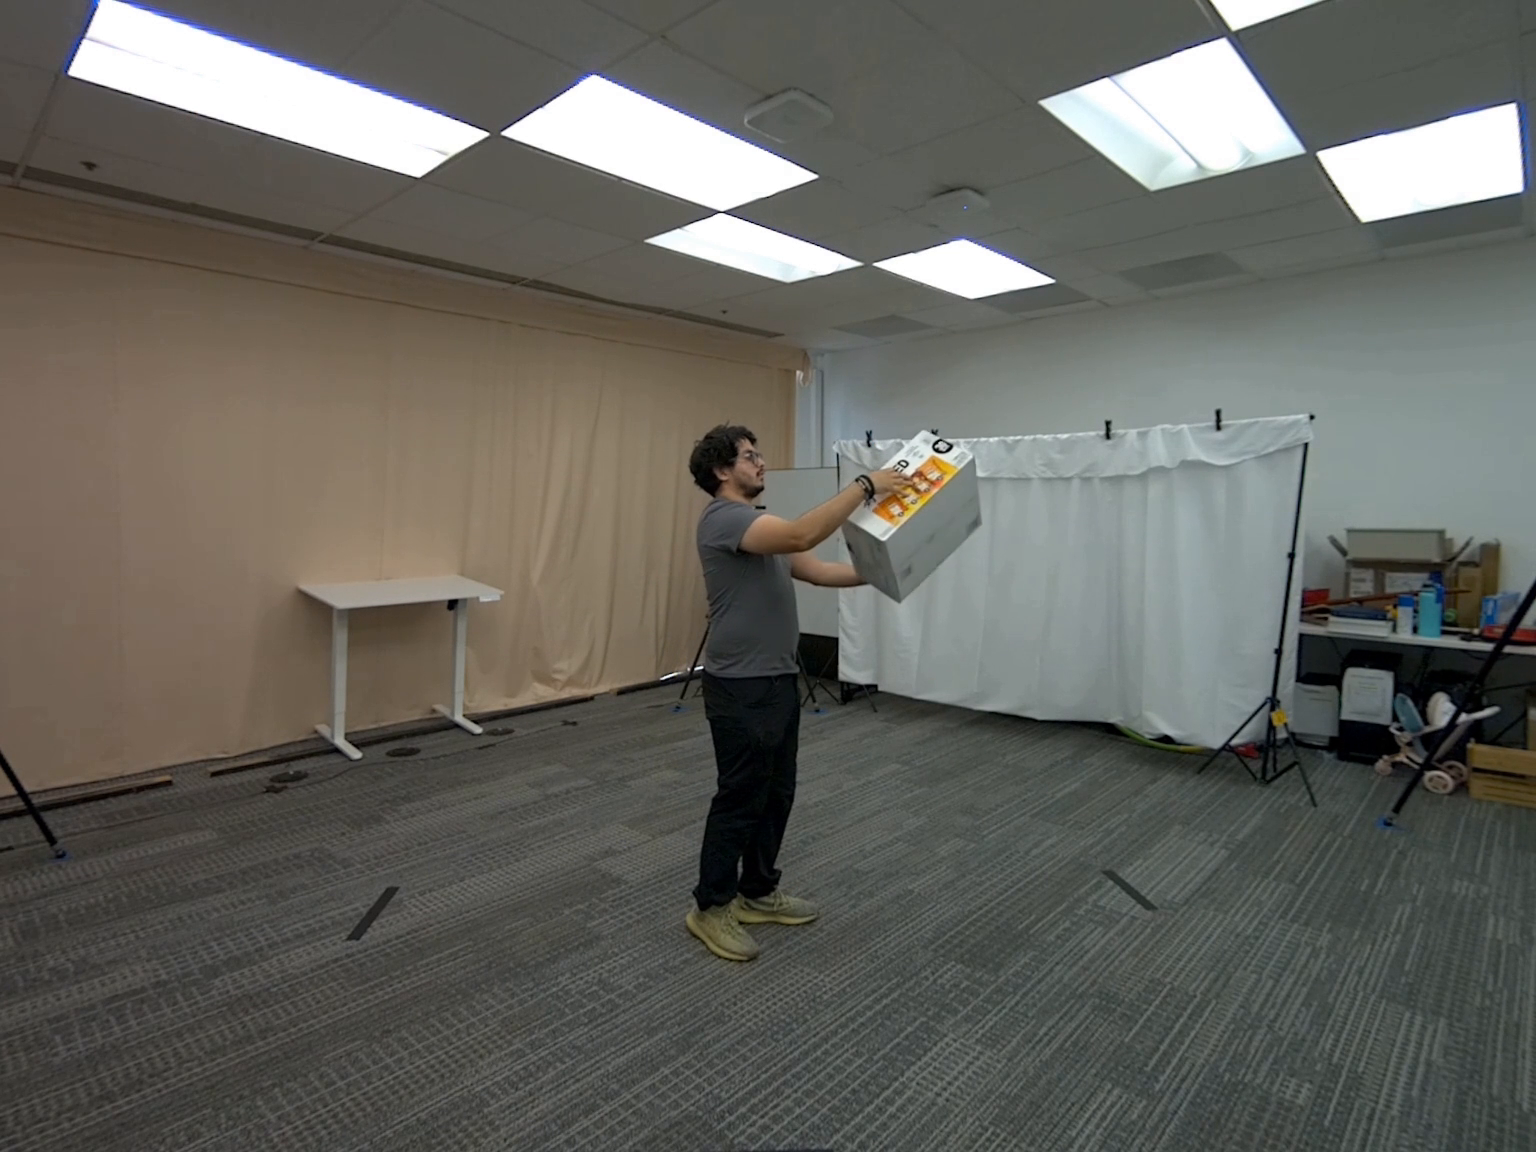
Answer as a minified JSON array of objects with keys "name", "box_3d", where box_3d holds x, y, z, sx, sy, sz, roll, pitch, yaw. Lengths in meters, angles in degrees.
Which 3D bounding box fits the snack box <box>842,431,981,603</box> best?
[{"name":"snack box","box_3d":[0.464,-0.183,2.665,0.213,0.403,0.330,37,-17,38]}]
